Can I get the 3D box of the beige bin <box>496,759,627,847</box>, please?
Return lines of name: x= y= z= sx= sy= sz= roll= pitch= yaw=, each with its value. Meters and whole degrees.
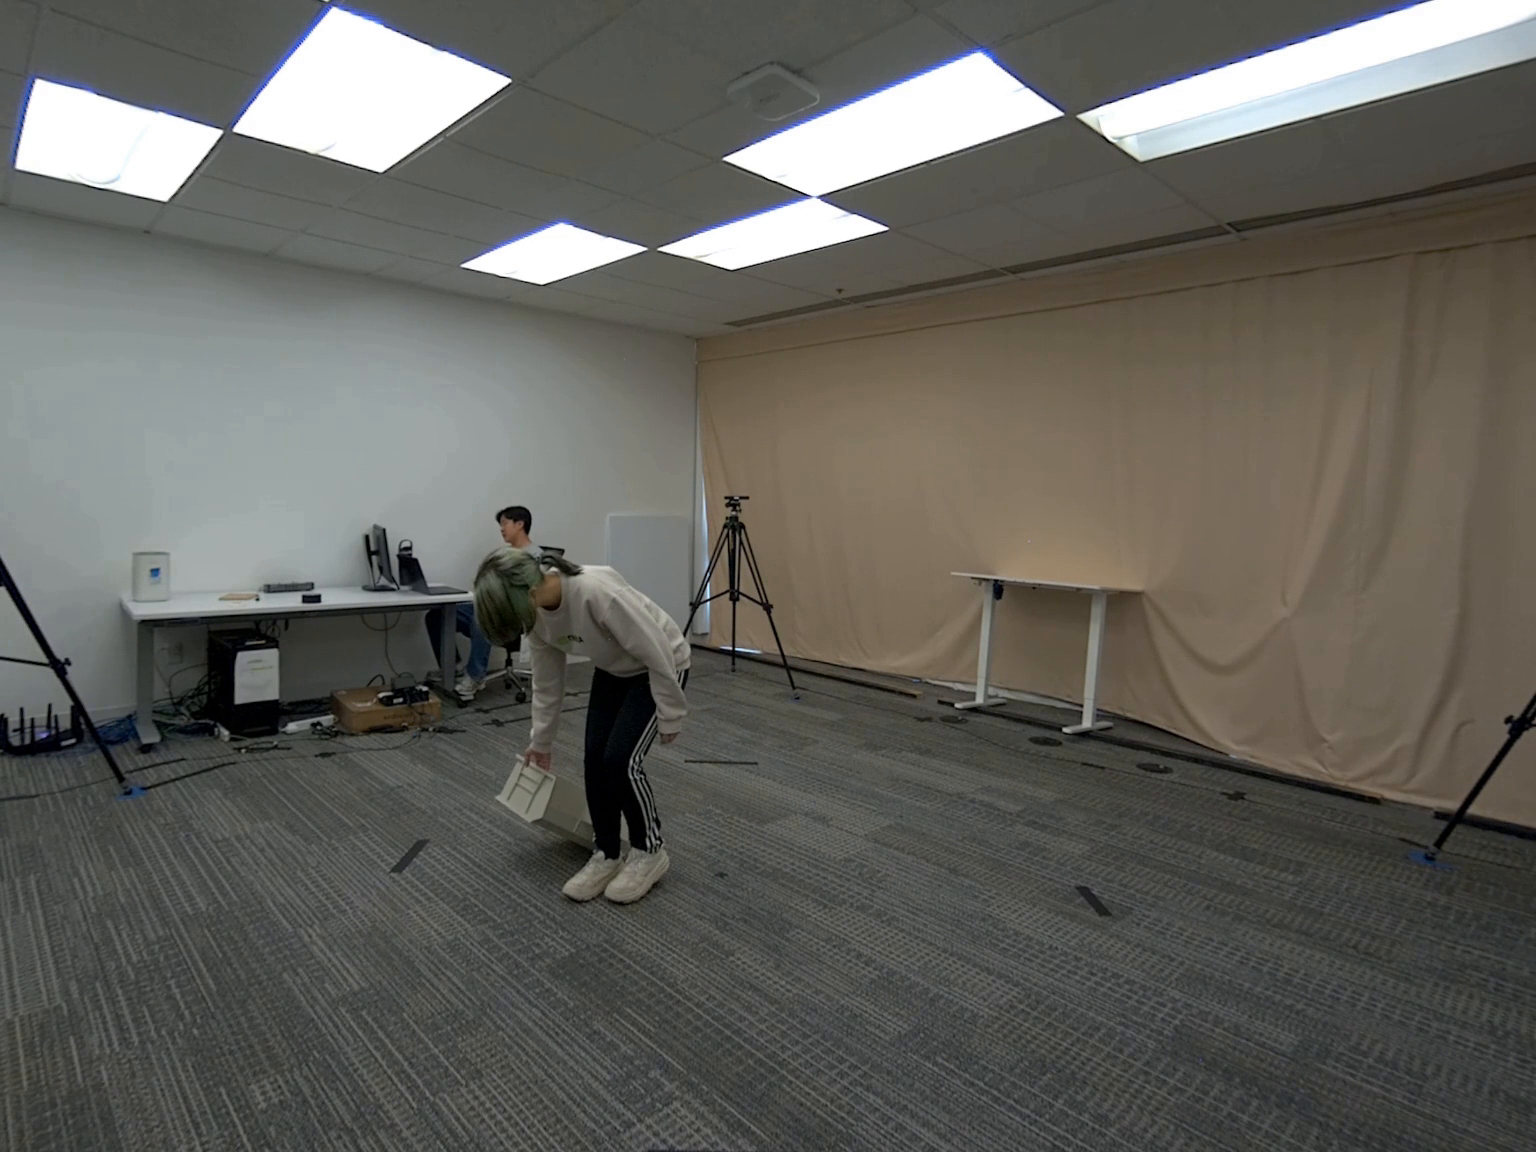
beige bin: x=-0.770 y=0.893 z=3.209 sx=0.410 sy=0.190 sz=0.387 roll=38 pitch=-19 yaw=-34
